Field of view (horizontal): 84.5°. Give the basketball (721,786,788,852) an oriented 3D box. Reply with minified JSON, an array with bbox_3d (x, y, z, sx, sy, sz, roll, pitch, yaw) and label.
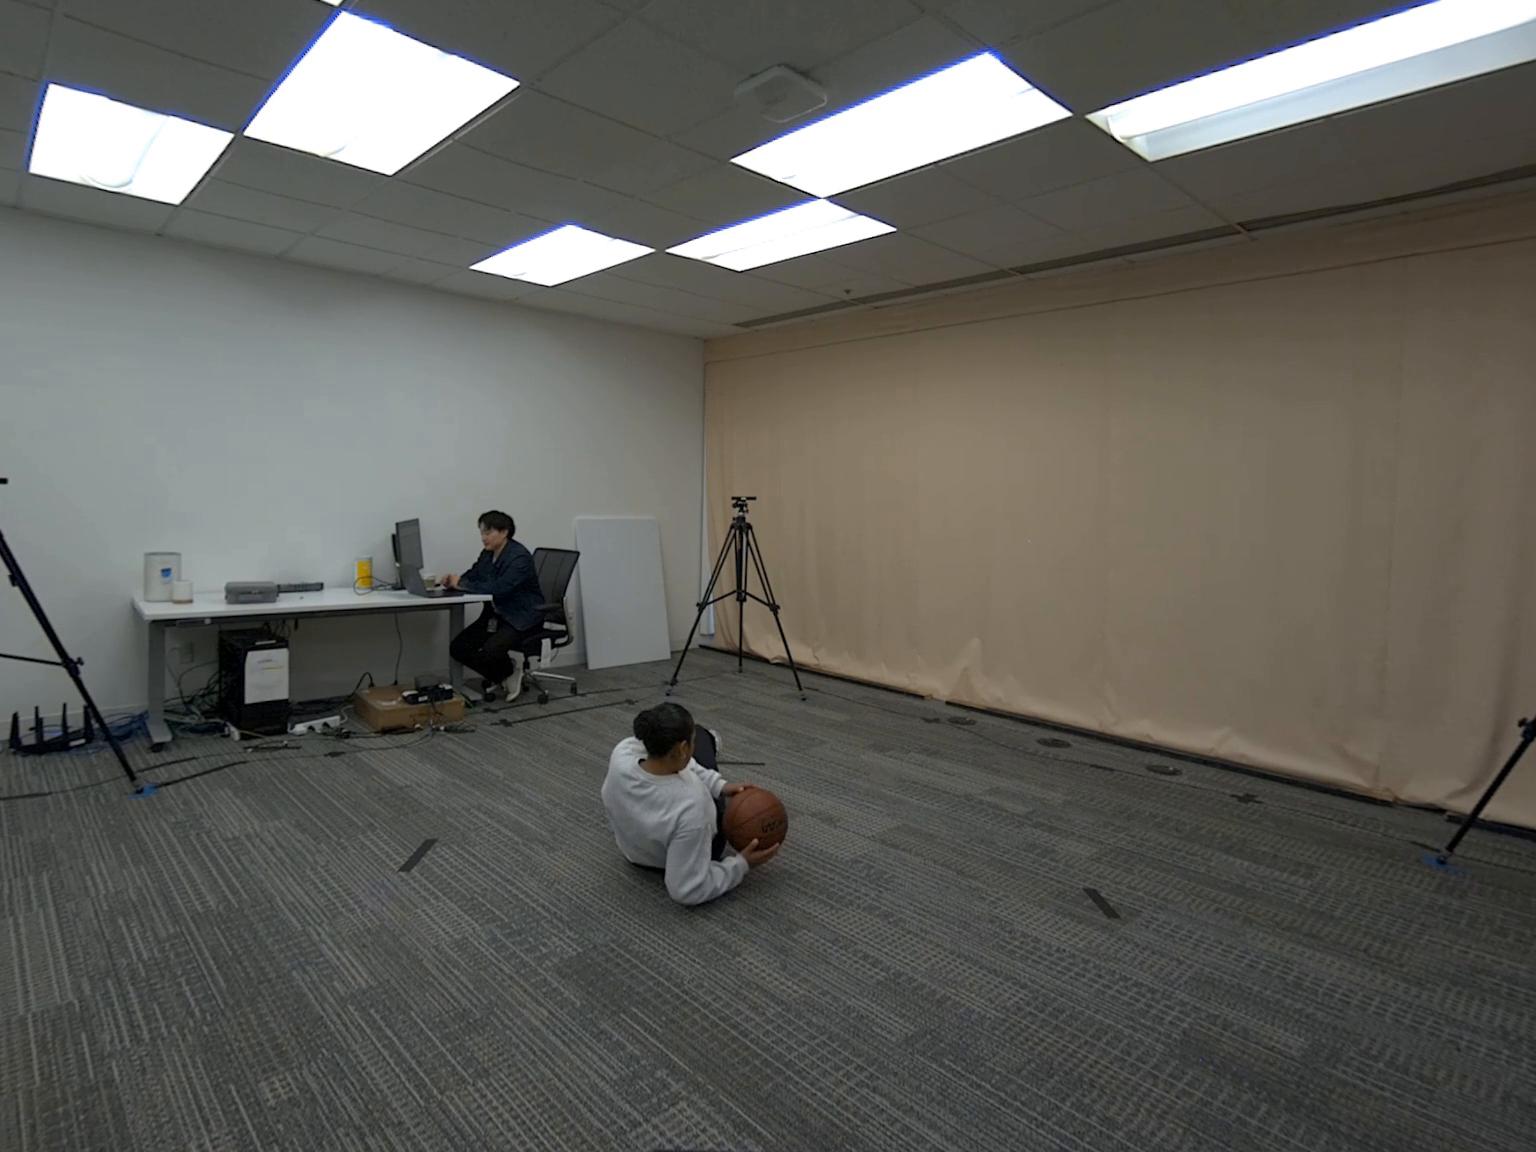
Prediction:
[{"bbox_3d":[-0.061,0.877,3.072,0.236,0.235,0.237,1,4,-1],"label":"basketball"}]
